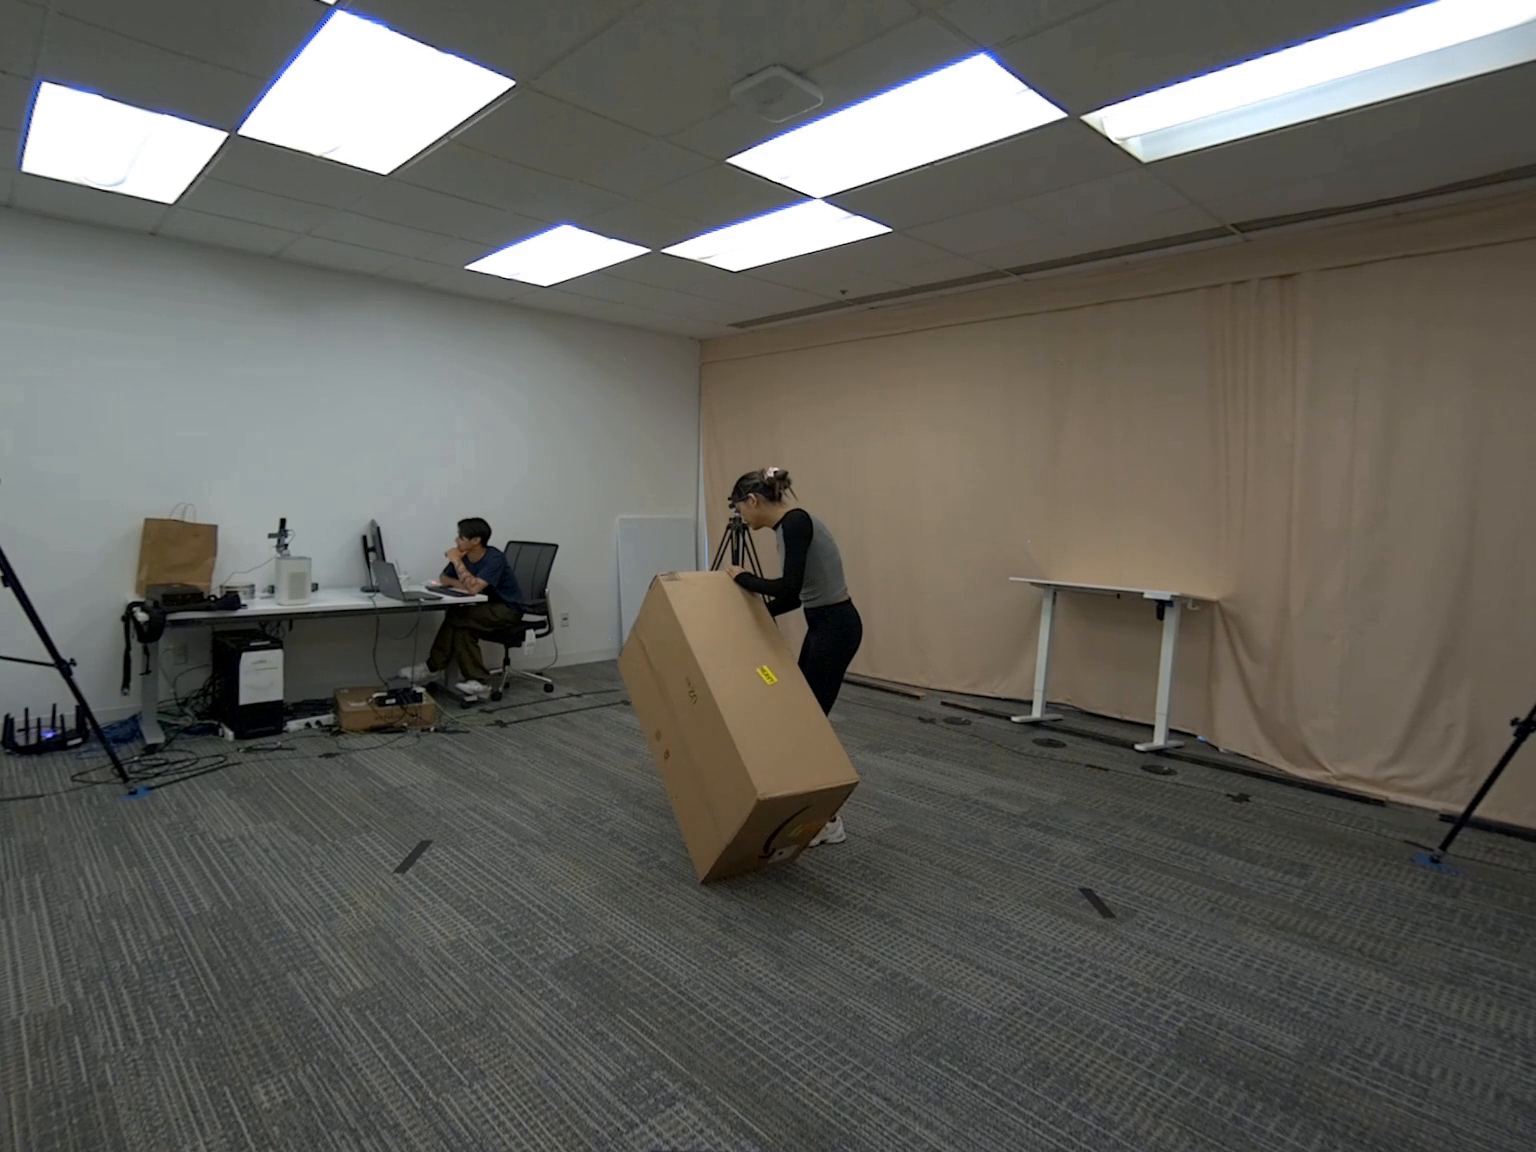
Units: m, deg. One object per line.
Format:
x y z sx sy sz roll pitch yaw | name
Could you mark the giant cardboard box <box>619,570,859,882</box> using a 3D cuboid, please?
-0.172 0.552 3.276 0.437 0.579 1.058 -1 45 -35 | giant cardboard box
